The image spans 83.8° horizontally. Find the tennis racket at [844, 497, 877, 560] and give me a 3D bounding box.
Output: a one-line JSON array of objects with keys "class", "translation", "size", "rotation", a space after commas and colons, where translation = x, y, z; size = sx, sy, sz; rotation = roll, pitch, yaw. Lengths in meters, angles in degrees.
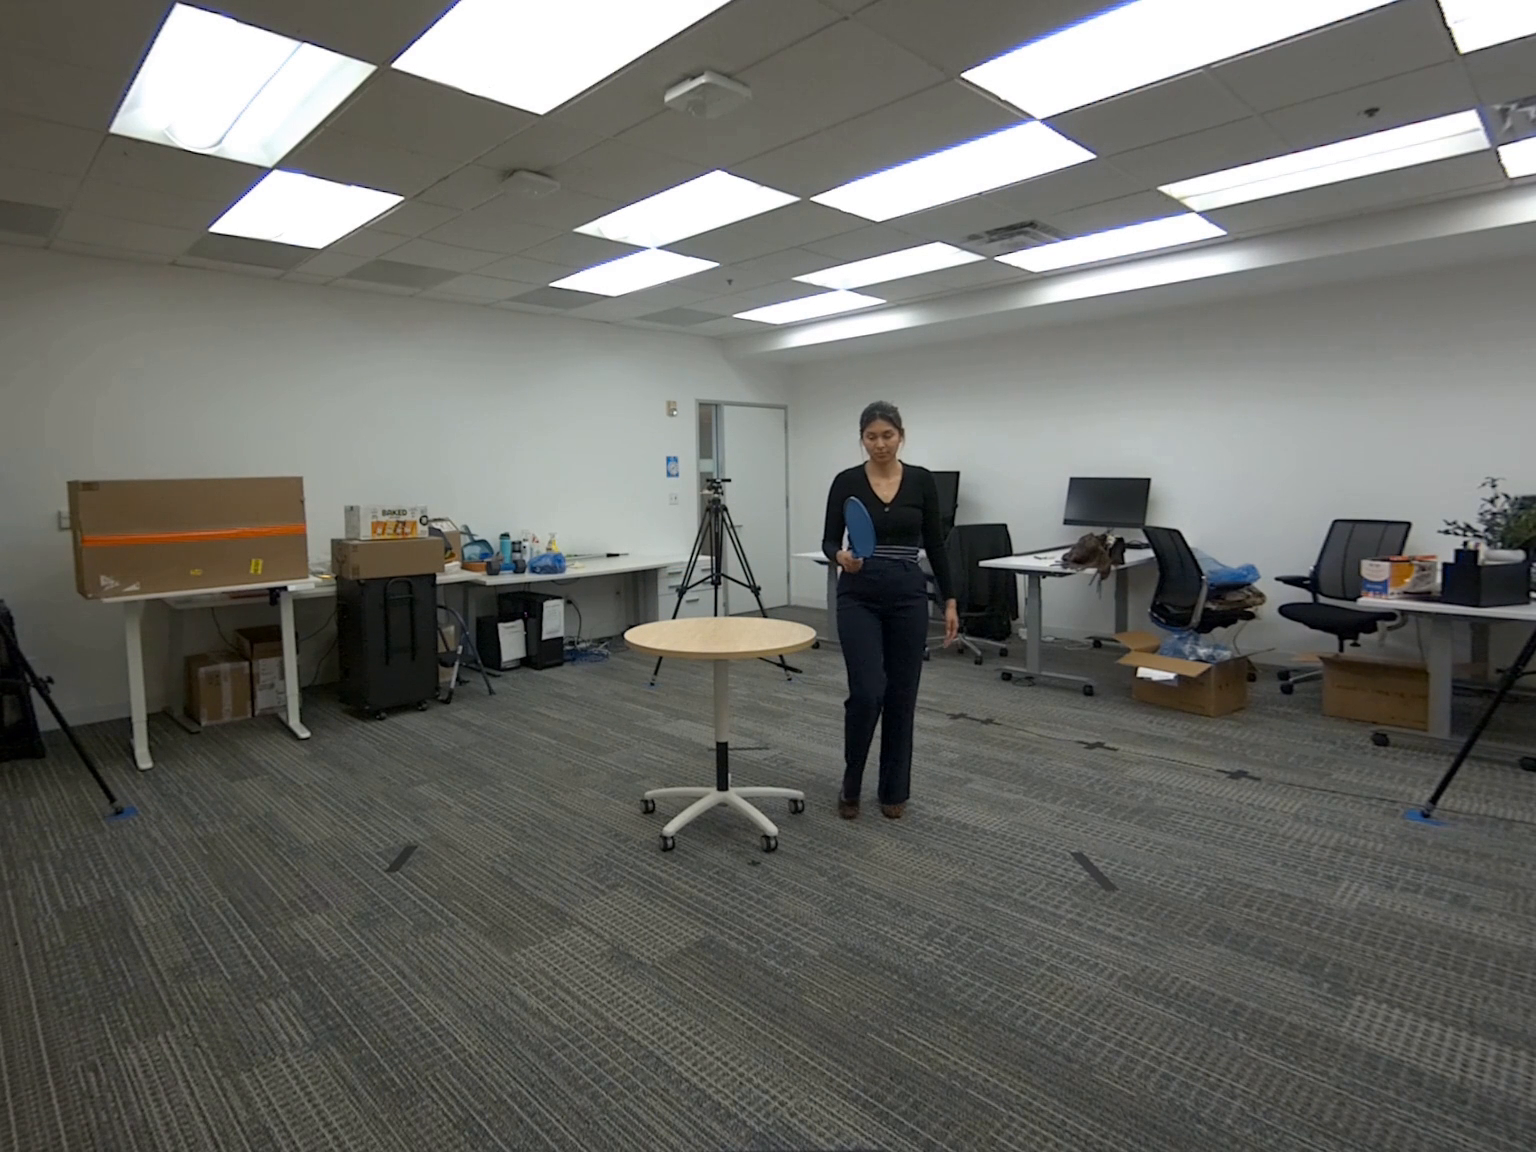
[{"class": "tennis racket", "translation": [0.324, -0.138, 3.212], "size": [0.031, 0.220, 0.421], "rotation": [-15, -29, -5]}]
